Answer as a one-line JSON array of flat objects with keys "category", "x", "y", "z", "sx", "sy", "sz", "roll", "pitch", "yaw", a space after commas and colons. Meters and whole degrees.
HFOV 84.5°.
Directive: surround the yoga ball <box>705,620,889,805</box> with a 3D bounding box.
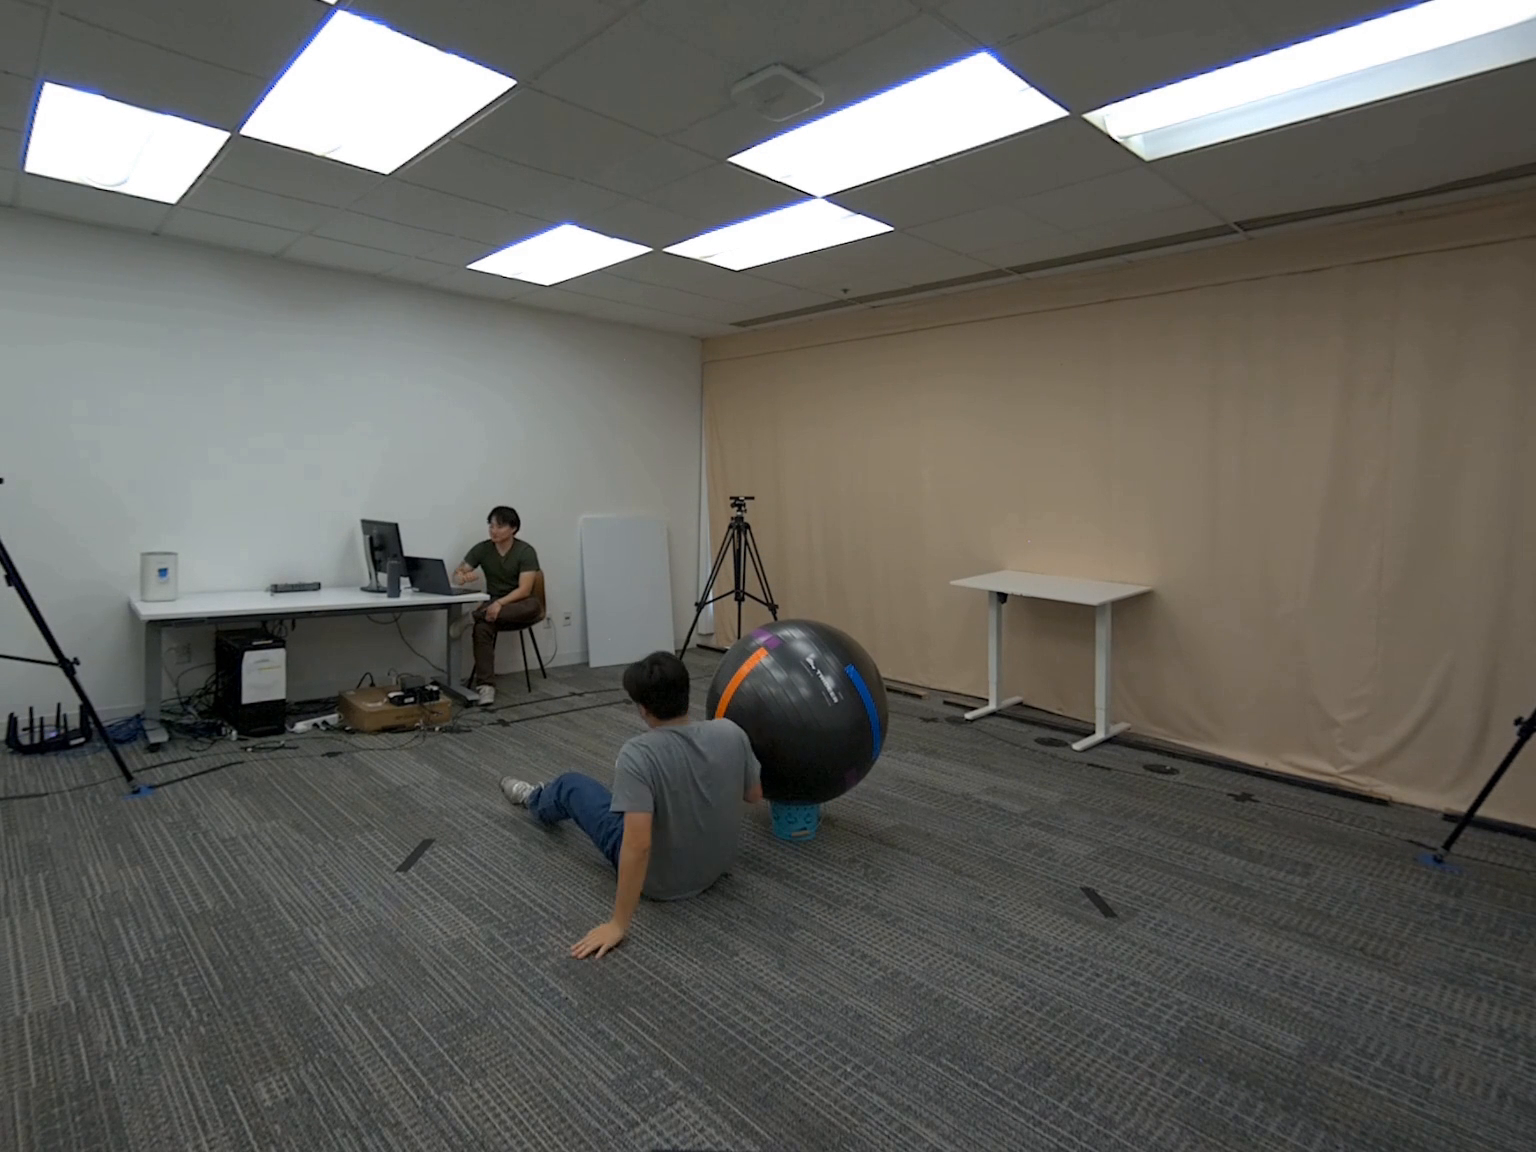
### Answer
[{"category": "yoga ball", "x": 0.111, "y": 0.563, "z": 3.514, "sx": 0.757, "sy": 0.756, "sz": 0.761, "roll": 1, "pitch": 4, "yaw": -1}]
